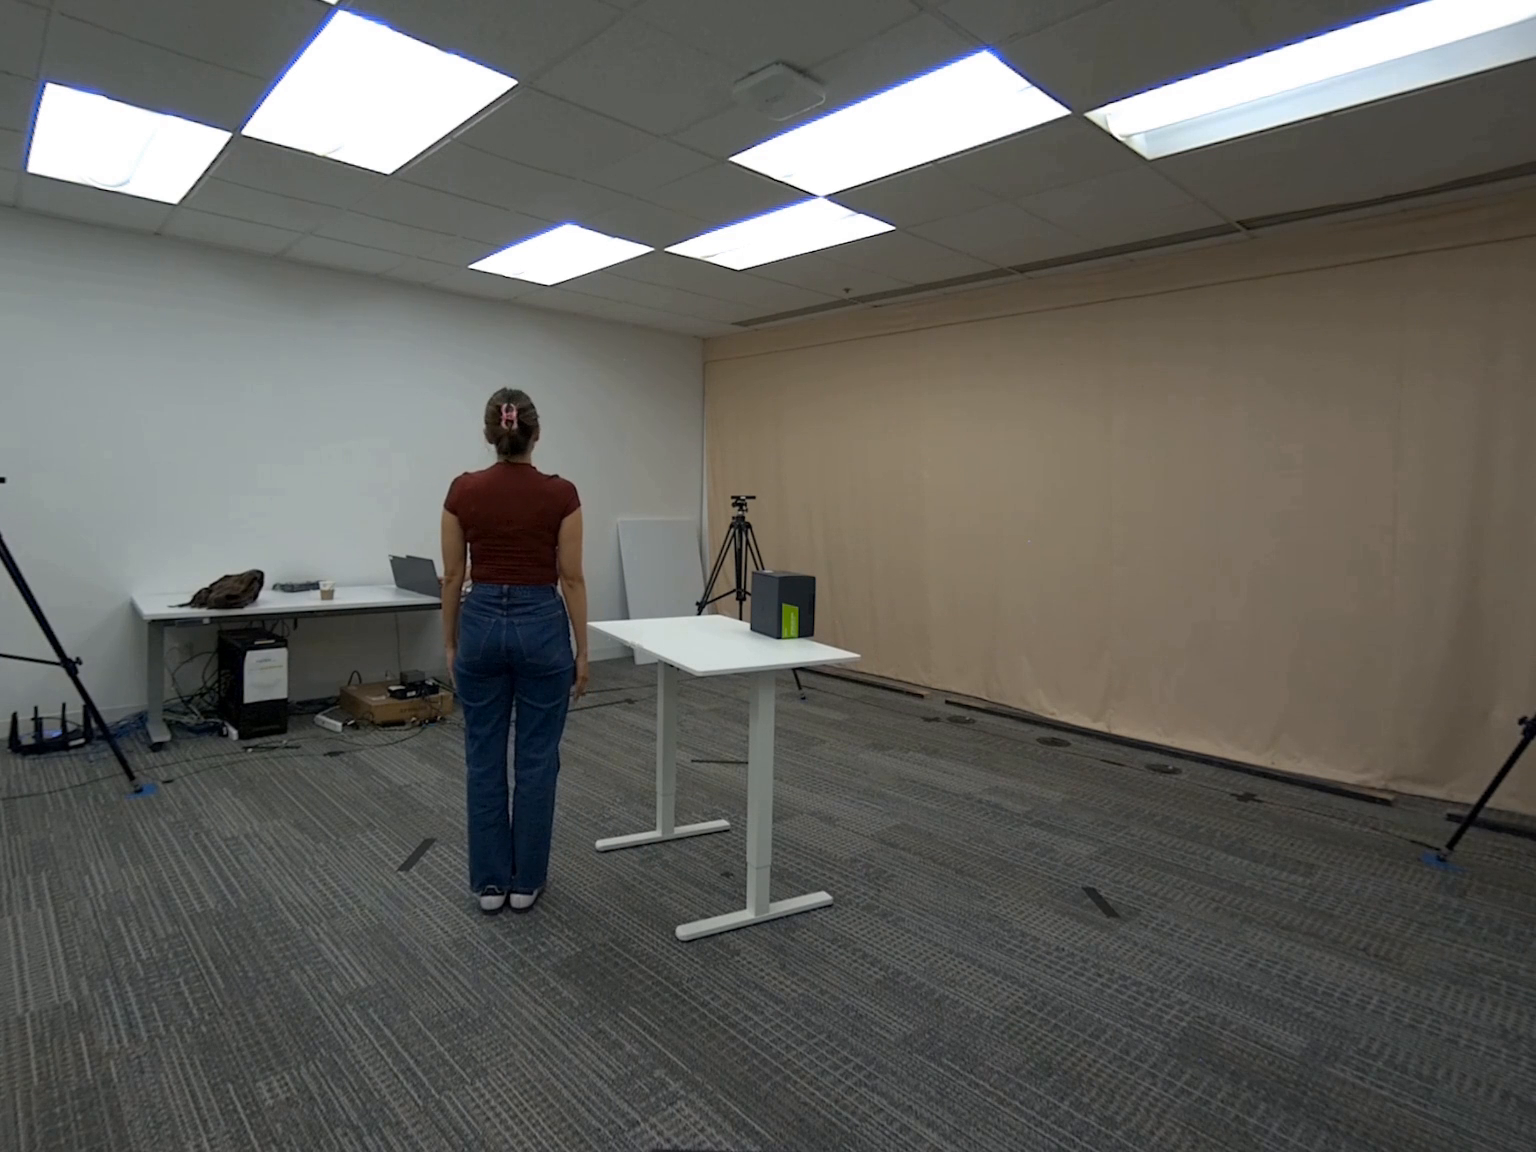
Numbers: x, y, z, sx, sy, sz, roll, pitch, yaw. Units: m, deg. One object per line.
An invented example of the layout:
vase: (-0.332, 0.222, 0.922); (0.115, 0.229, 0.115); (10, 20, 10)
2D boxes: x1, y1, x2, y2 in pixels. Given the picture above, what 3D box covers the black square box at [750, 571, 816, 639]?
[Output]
black square box: (0.046, 0.104, 3.146); (0.153, 0.227, 0.222); (-1, 5, -29)
